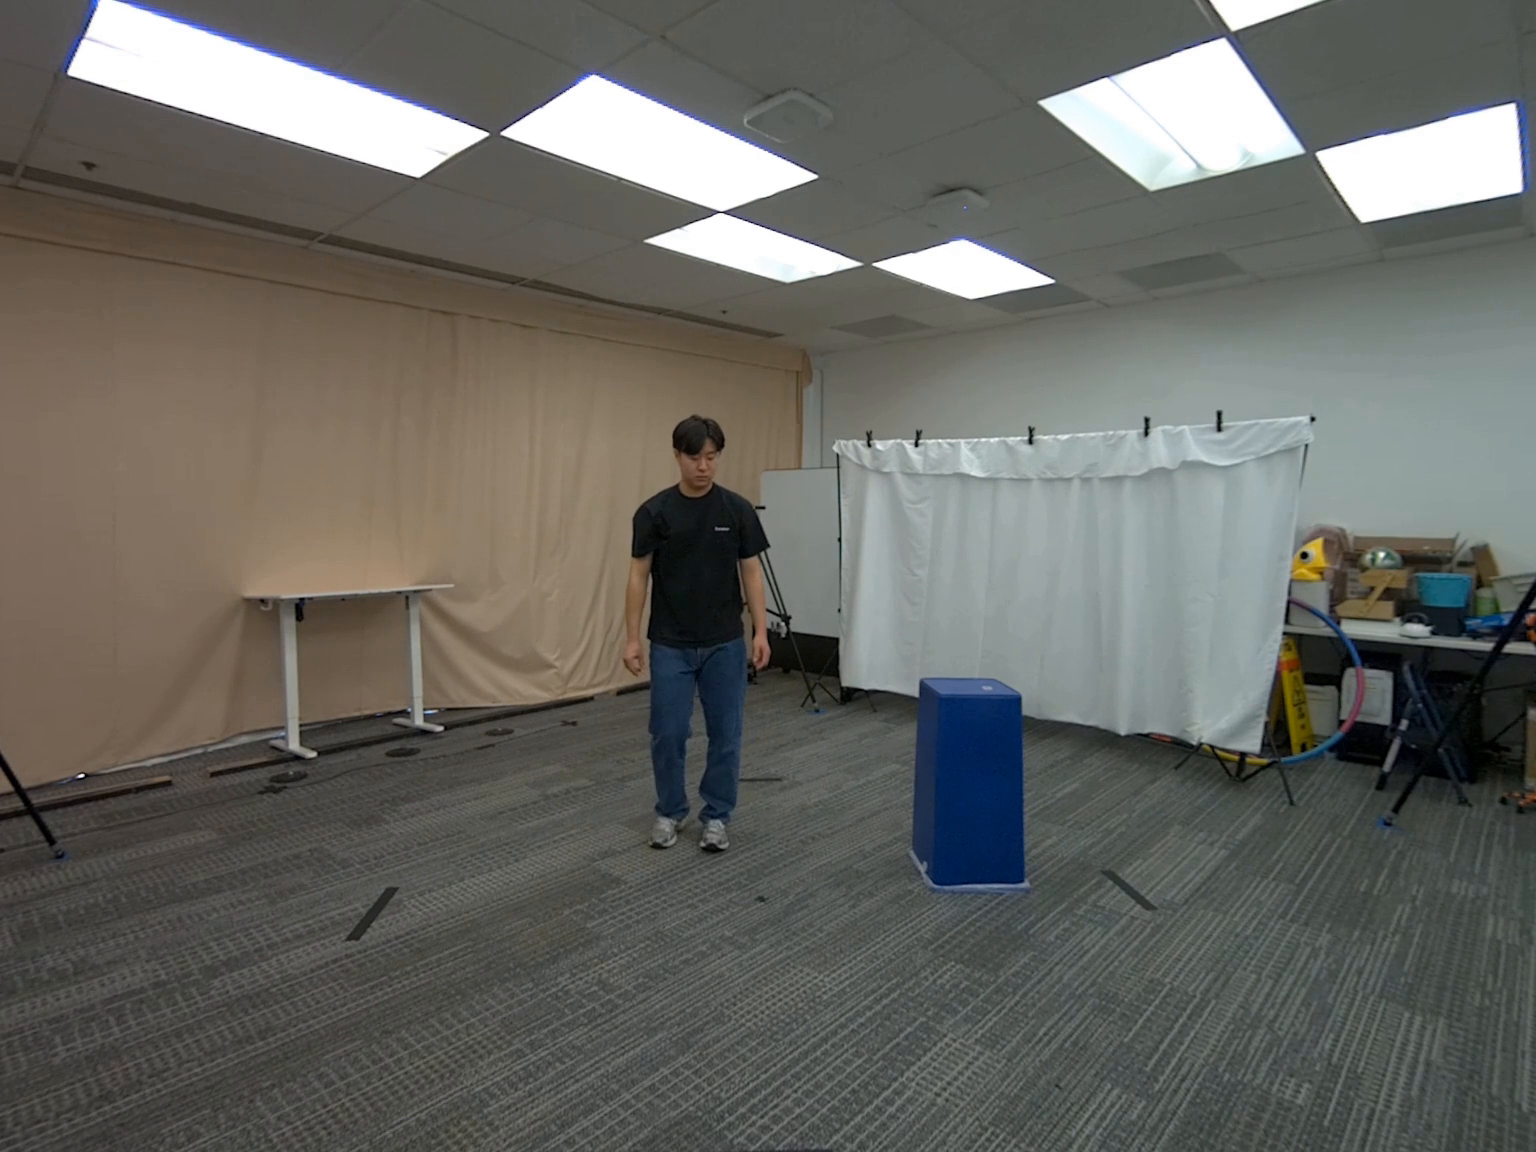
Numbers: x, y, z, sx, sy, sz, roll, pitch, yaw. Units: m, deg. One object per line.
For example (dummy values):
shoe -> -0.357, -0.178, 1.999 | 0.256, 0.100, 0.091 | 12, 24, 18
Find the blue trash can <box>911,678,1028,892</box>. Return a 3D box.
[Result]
blue trash can -> 0.769, 0.775, 3.190 | 0.373, 0.712, 0.380 | 1, 3, -3
